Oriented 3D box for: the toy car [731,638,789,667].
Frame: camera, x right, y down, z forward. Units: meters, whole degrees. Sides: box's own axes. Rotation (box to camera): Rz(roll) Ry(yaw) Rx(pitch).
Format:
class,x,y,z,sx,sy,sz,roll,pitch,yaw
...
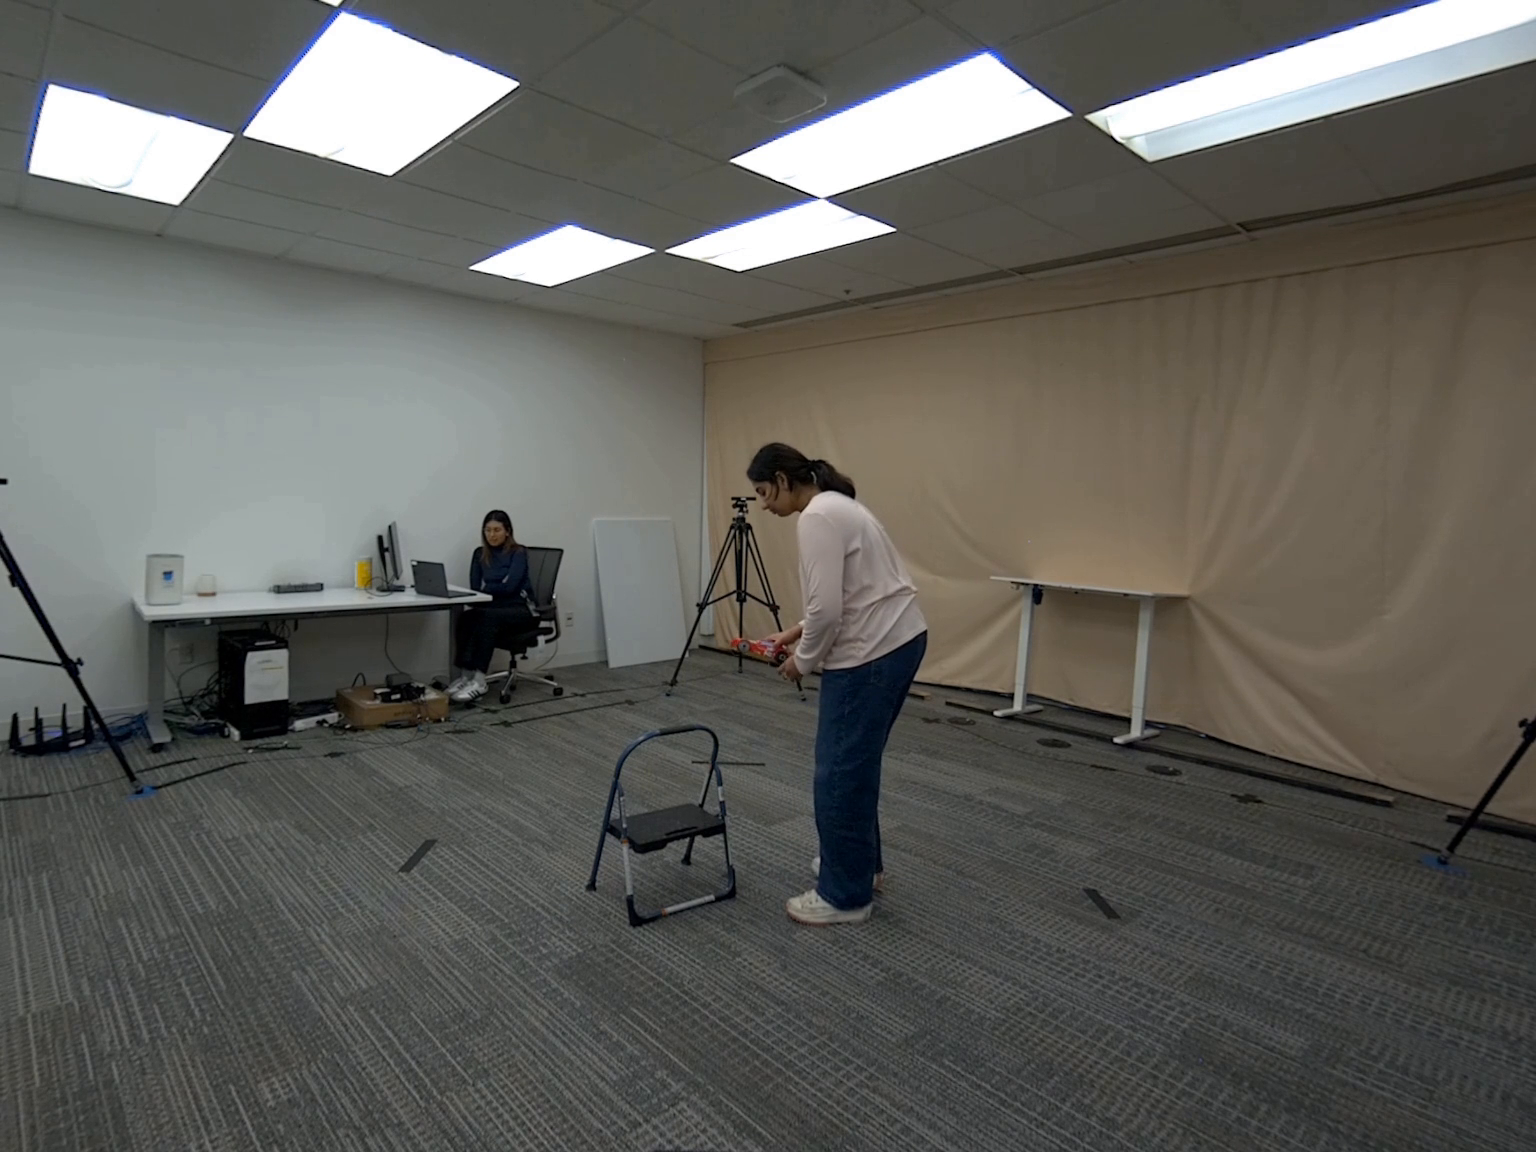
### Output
class,x,y,z,sx,sy,sz,roll,pitch,yaw
toy car,-0.006,0.282,3.028,0.252,0.084,0.130,8,-14,-11
